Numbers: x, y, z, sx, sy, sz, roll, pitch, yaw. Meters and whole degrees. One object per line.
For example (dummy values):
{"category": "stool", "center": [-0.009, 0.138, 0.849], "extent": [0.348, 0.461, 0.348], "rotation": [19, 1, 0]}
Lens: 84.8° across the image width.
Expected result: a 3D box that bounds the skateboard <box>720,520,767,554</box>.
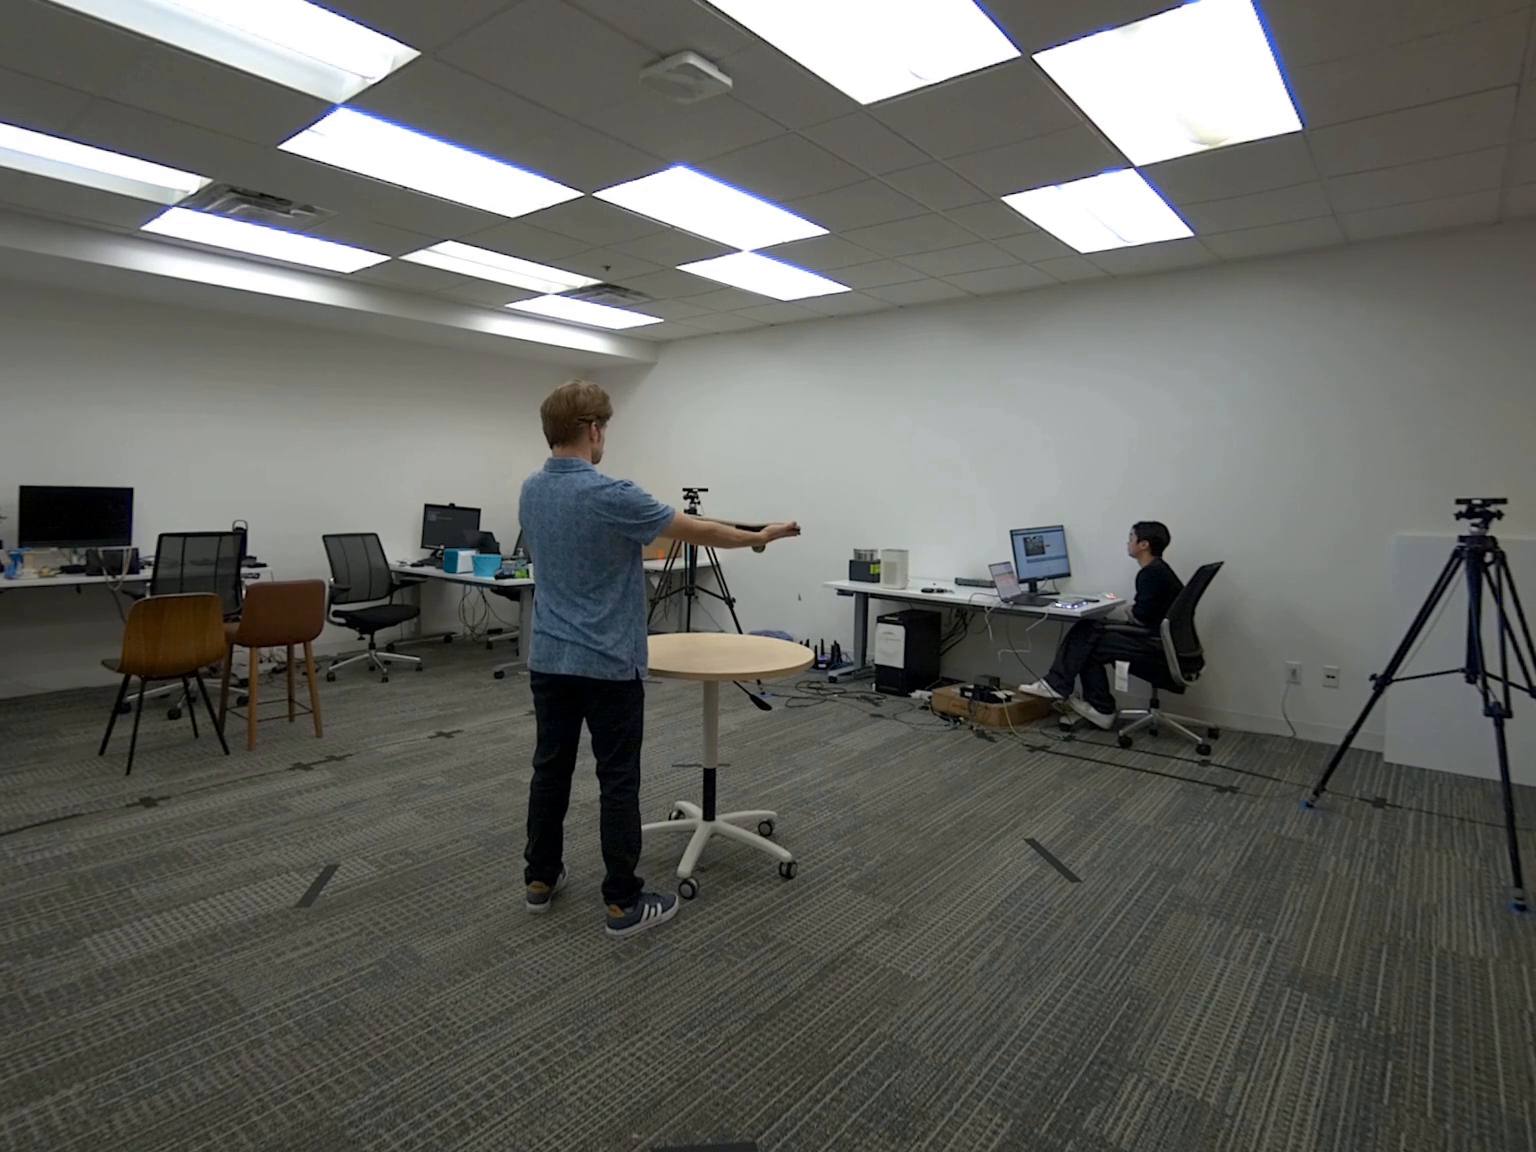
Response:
{"category": "skateboard", "center": [-0.248, -0.174, 3.127], "extent": [0.813, 0.110, 0.186], "rotation": [9, -2, 37]}
